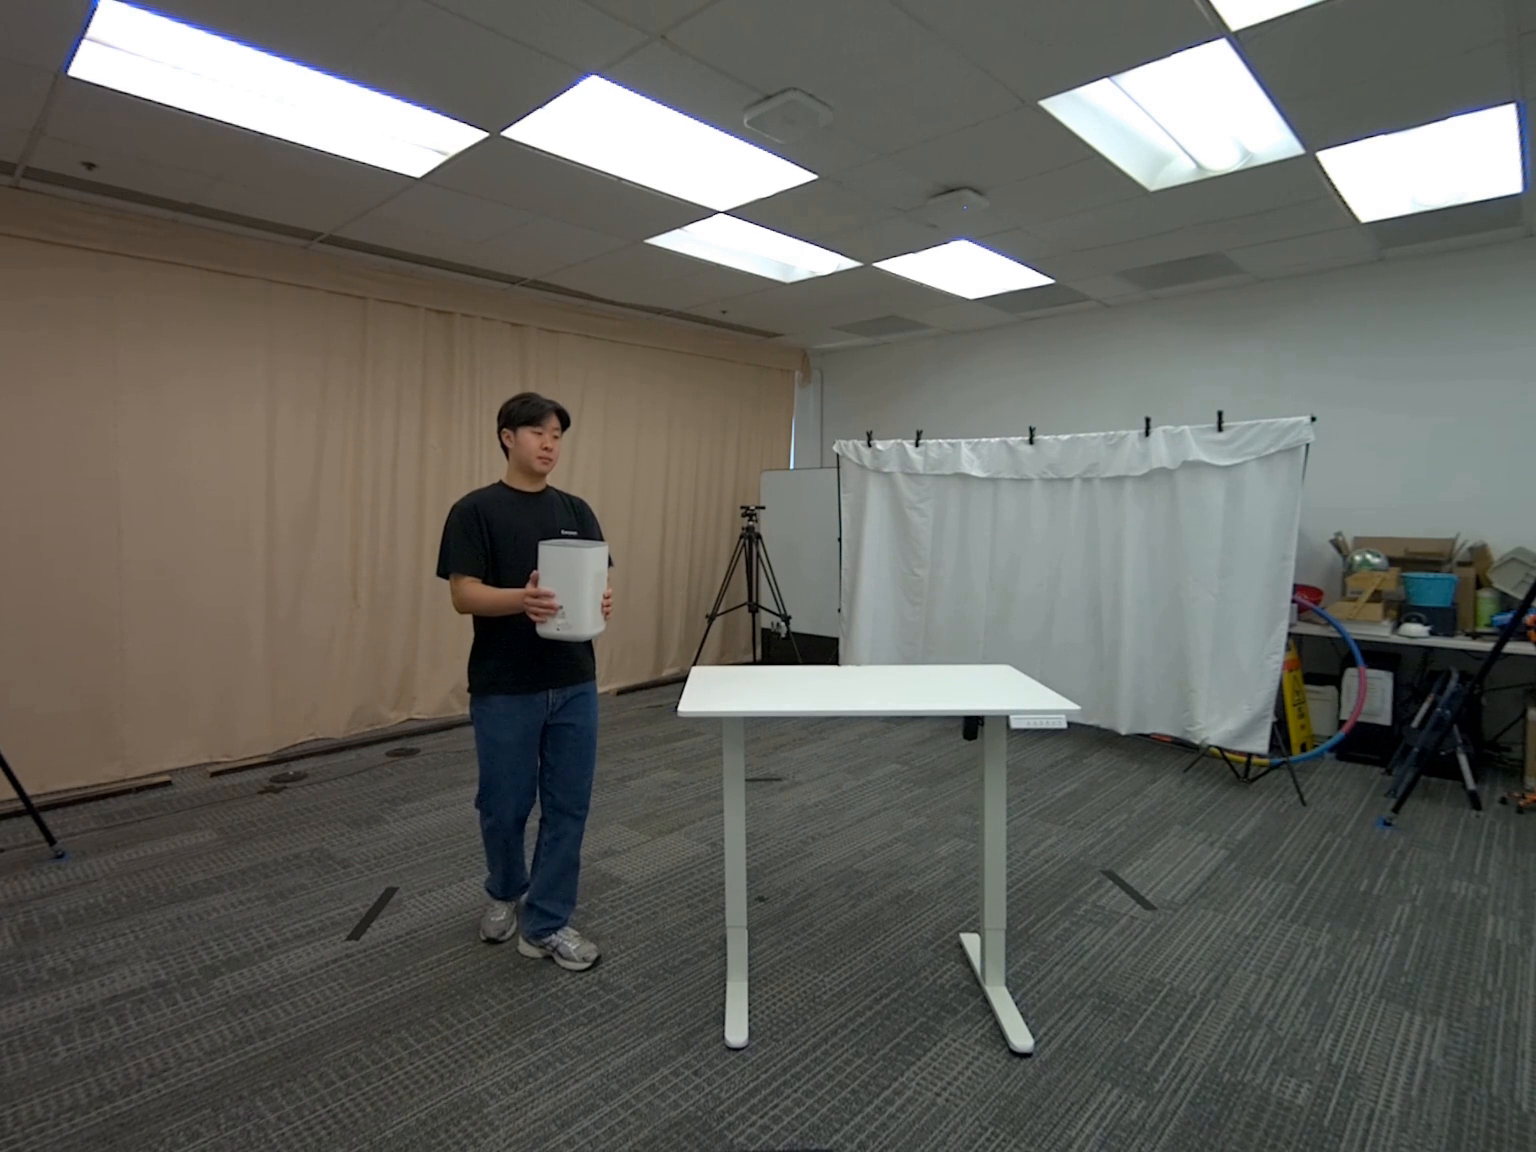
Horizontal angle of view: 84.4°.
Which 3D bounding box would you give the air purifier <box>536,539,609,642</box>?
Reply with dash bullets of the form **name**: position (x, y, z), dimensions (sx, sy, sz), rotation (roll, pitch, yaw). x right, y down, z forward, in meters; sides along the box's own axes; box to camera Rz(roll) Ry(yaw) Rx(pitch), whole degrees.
- **air purifier**: position (-0.542, 0.041, 2.344), dimensions (0.173, 0.264, 0.170), rotation (6, 5, 11)
